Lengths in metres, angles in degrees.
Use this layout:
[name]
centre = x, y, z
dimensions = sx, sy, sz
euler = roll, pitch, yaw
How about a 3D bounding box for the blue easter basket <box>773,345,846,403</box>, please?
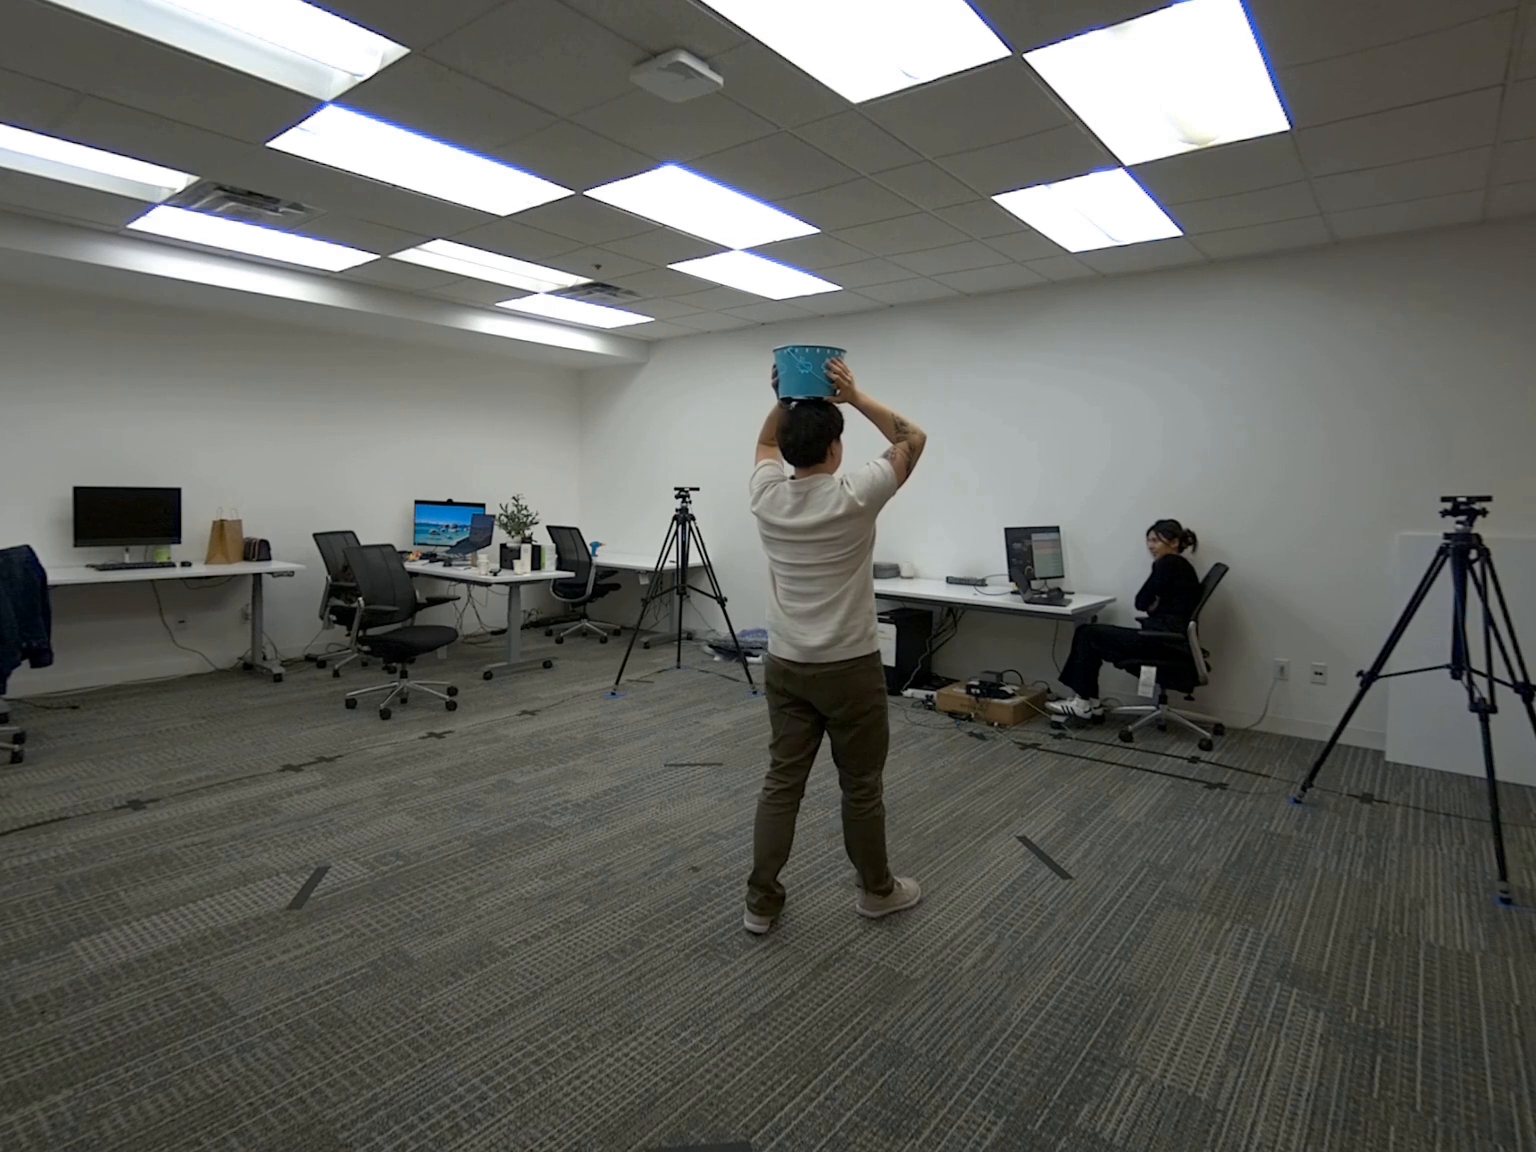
[blue easter basket]
centre = 0.129, -0.637, 2.669
dimensions = 0.243, 0.155, 0.245
euler = 2, 7, -2
